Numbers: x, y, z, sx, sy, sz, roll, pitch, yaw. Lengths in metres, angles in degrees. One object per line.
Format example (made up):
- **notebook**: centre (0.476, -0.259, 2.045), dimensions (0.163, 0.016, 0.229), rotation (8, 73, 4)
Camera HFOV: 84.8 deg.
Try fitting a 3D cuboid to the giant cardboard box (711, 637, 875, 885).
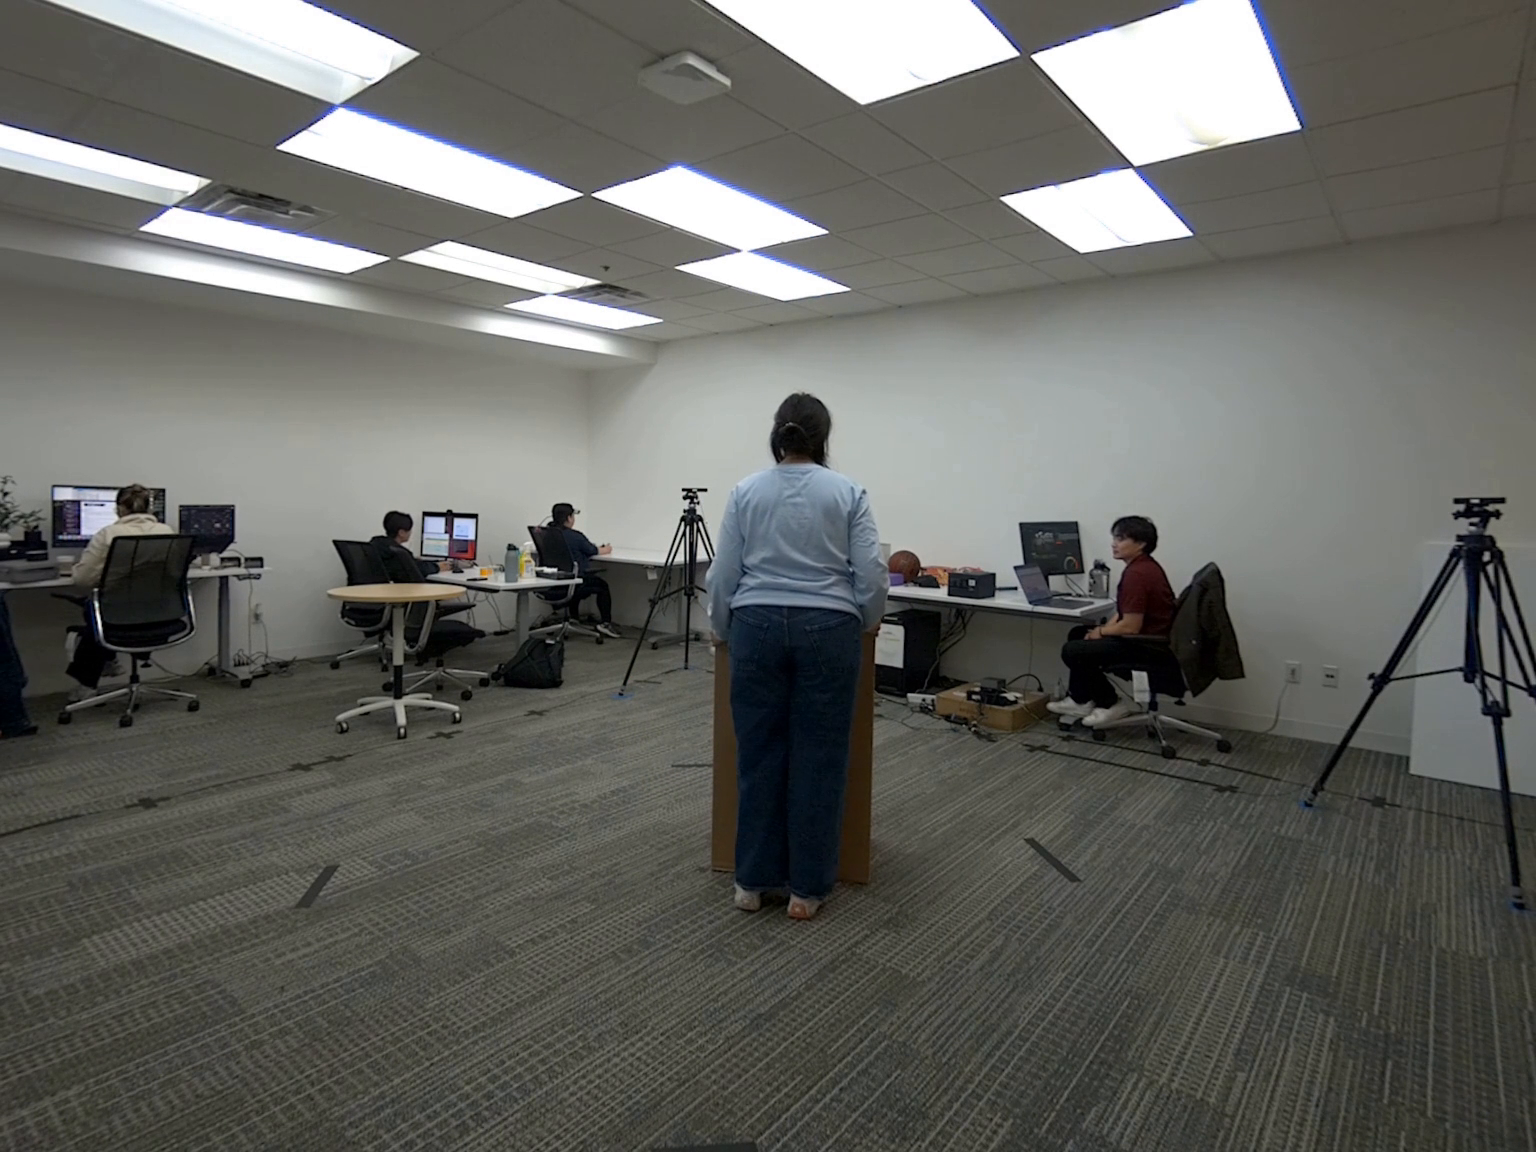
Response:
- **giant cardboard box**: centre (0.097, 0.556, 3.242), dimensions (0.582, 1.023, 0.424), rotation (2, 2, 7)
